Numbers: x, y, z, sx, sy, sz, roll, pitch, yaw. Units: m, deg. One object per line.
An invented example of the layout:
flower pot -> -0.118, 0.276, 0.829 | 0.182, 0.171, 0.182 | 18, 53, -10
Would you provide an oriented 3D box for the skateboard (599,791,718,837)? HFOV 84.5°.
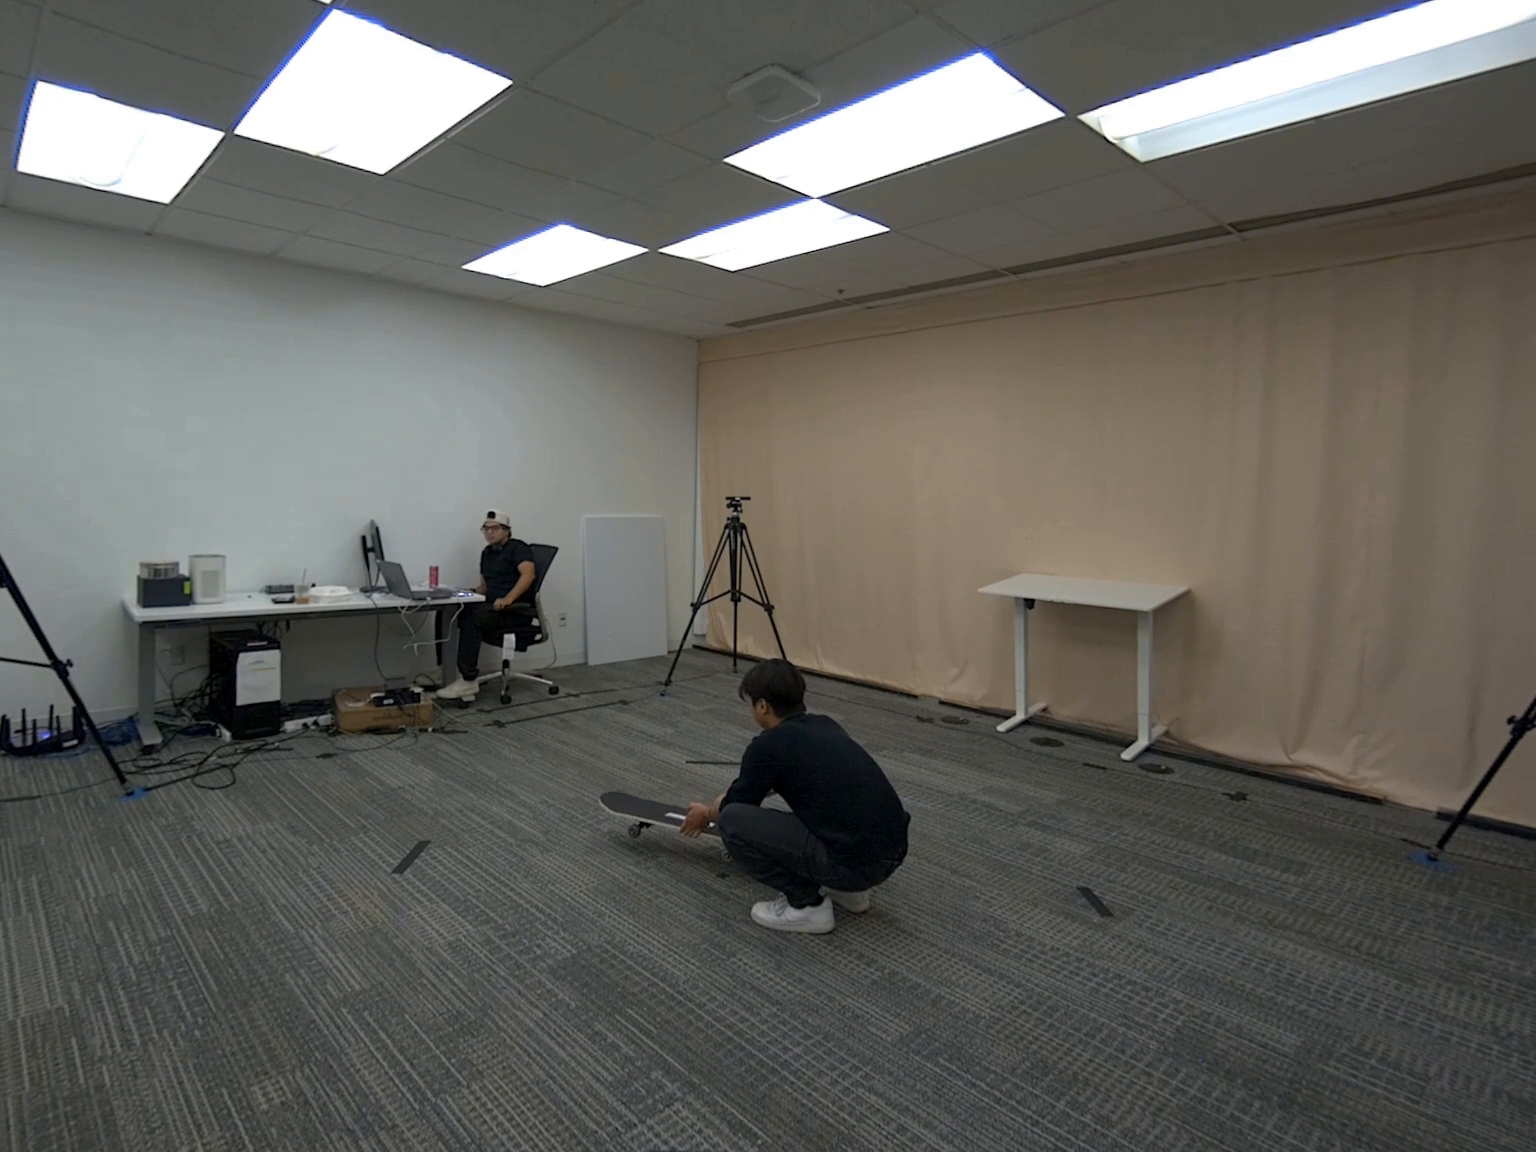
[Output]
skateboard -> -0.311, 0.981, 3.261 | 0.800, 0.110, 0.190 | 8, 5, 22
